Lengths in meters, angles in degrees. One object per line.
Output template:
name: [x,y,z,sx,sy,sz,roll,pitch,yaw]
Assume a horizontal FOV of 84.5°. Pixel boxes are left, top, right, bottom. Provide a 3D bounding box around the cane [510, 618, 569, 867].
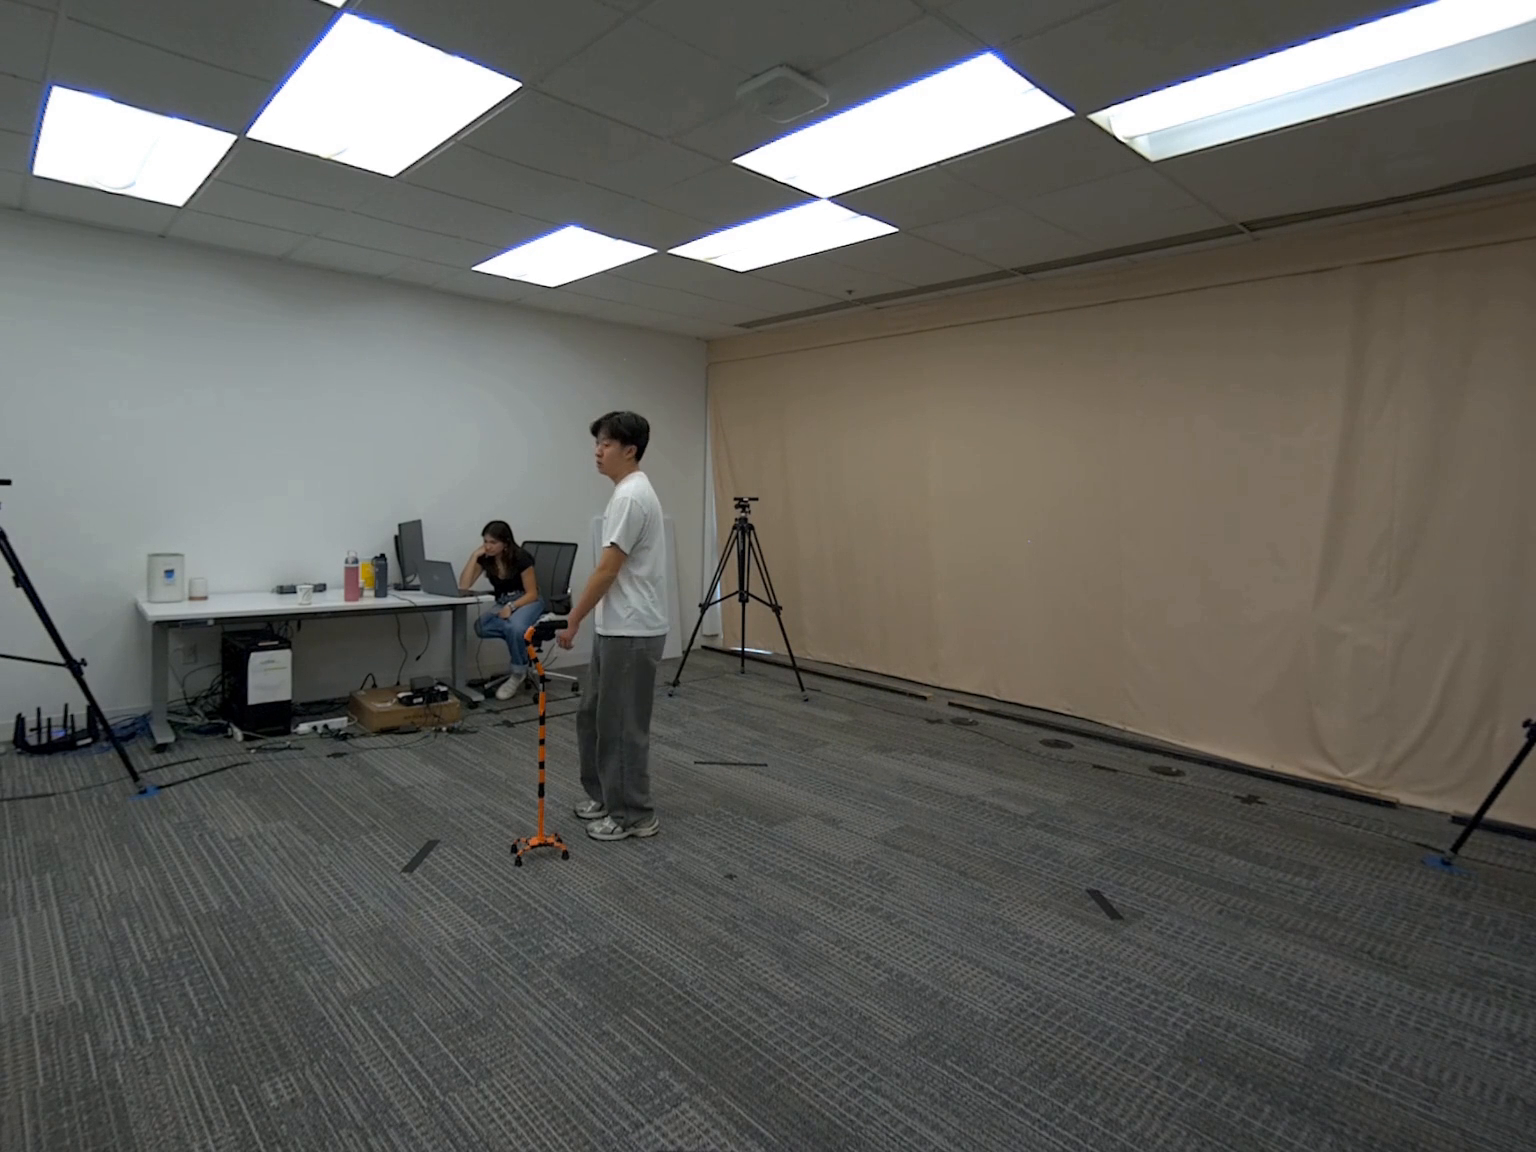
cane: [-0.881,0.629,3.218,0.203,0.906,0.155,0,3,-25]
